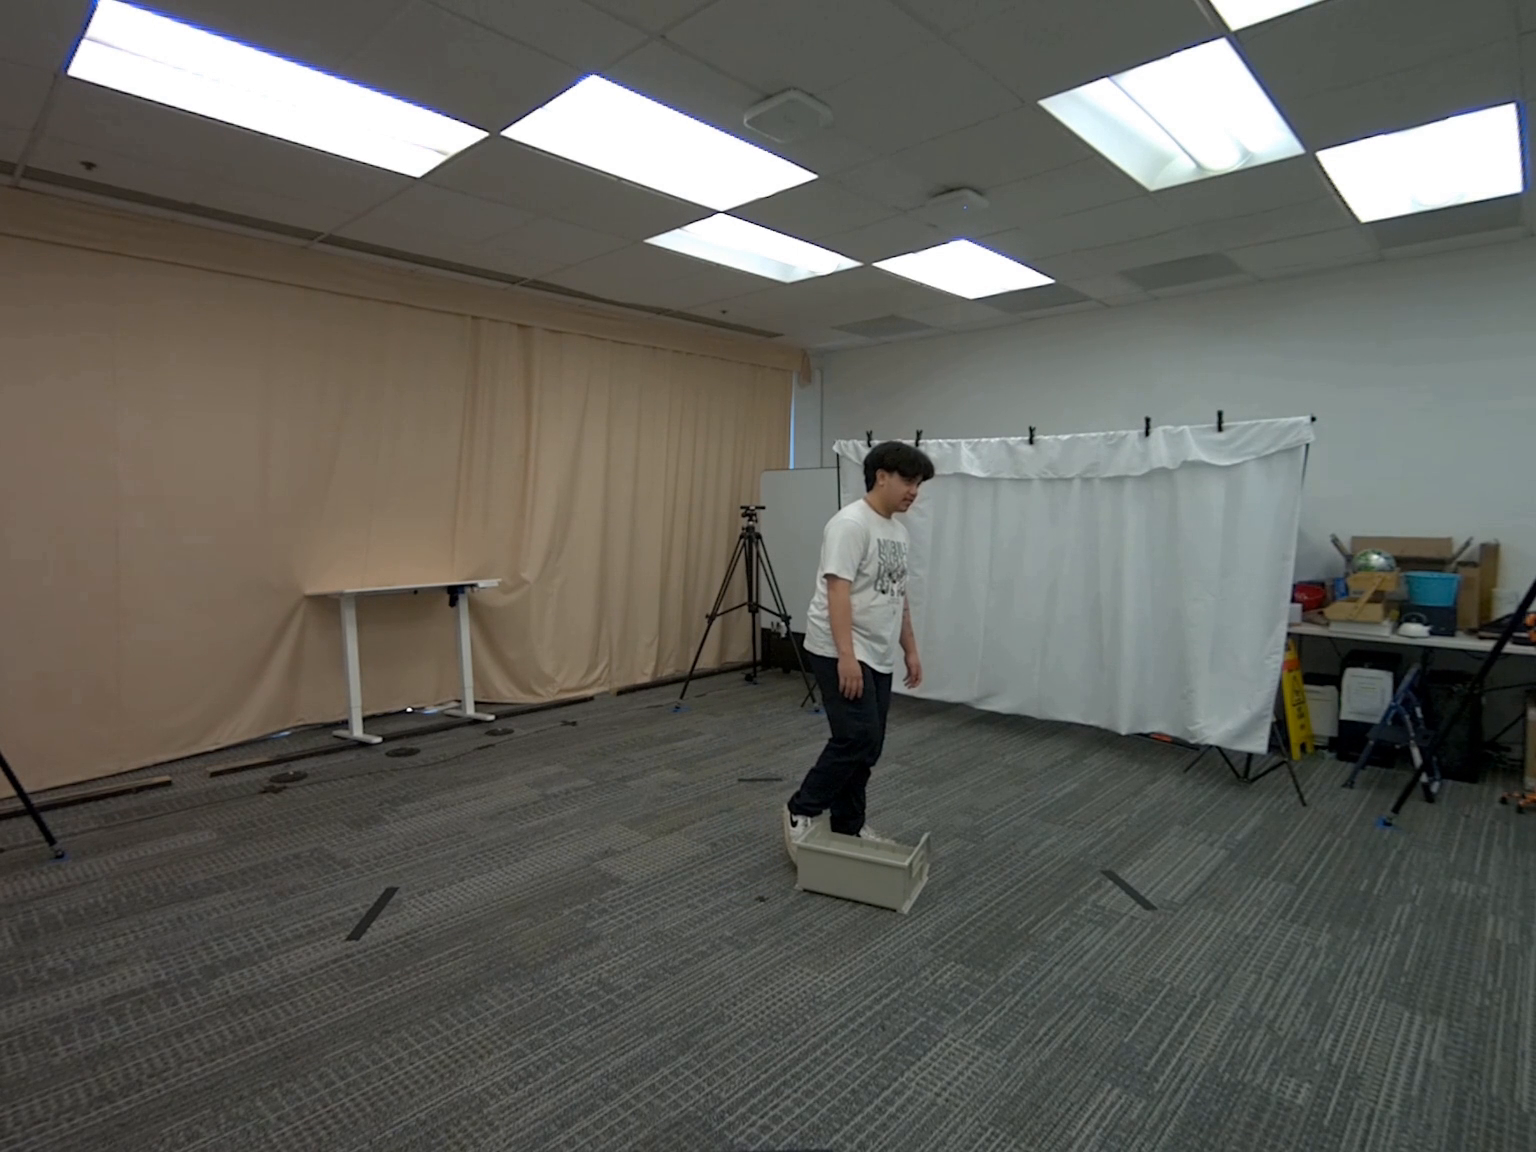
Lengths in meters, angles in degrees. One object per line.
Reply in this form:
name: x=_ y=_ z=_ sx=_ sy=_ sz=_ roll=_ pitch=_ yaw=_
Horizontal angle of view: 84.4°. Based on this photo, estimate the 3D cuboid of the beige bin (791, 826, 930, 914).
beige bin: x=0.358 y=1.037 z=3.109 sx=0.434 sy=0.188 sz=0.369 roll=3 pitch=7 yaw=26
